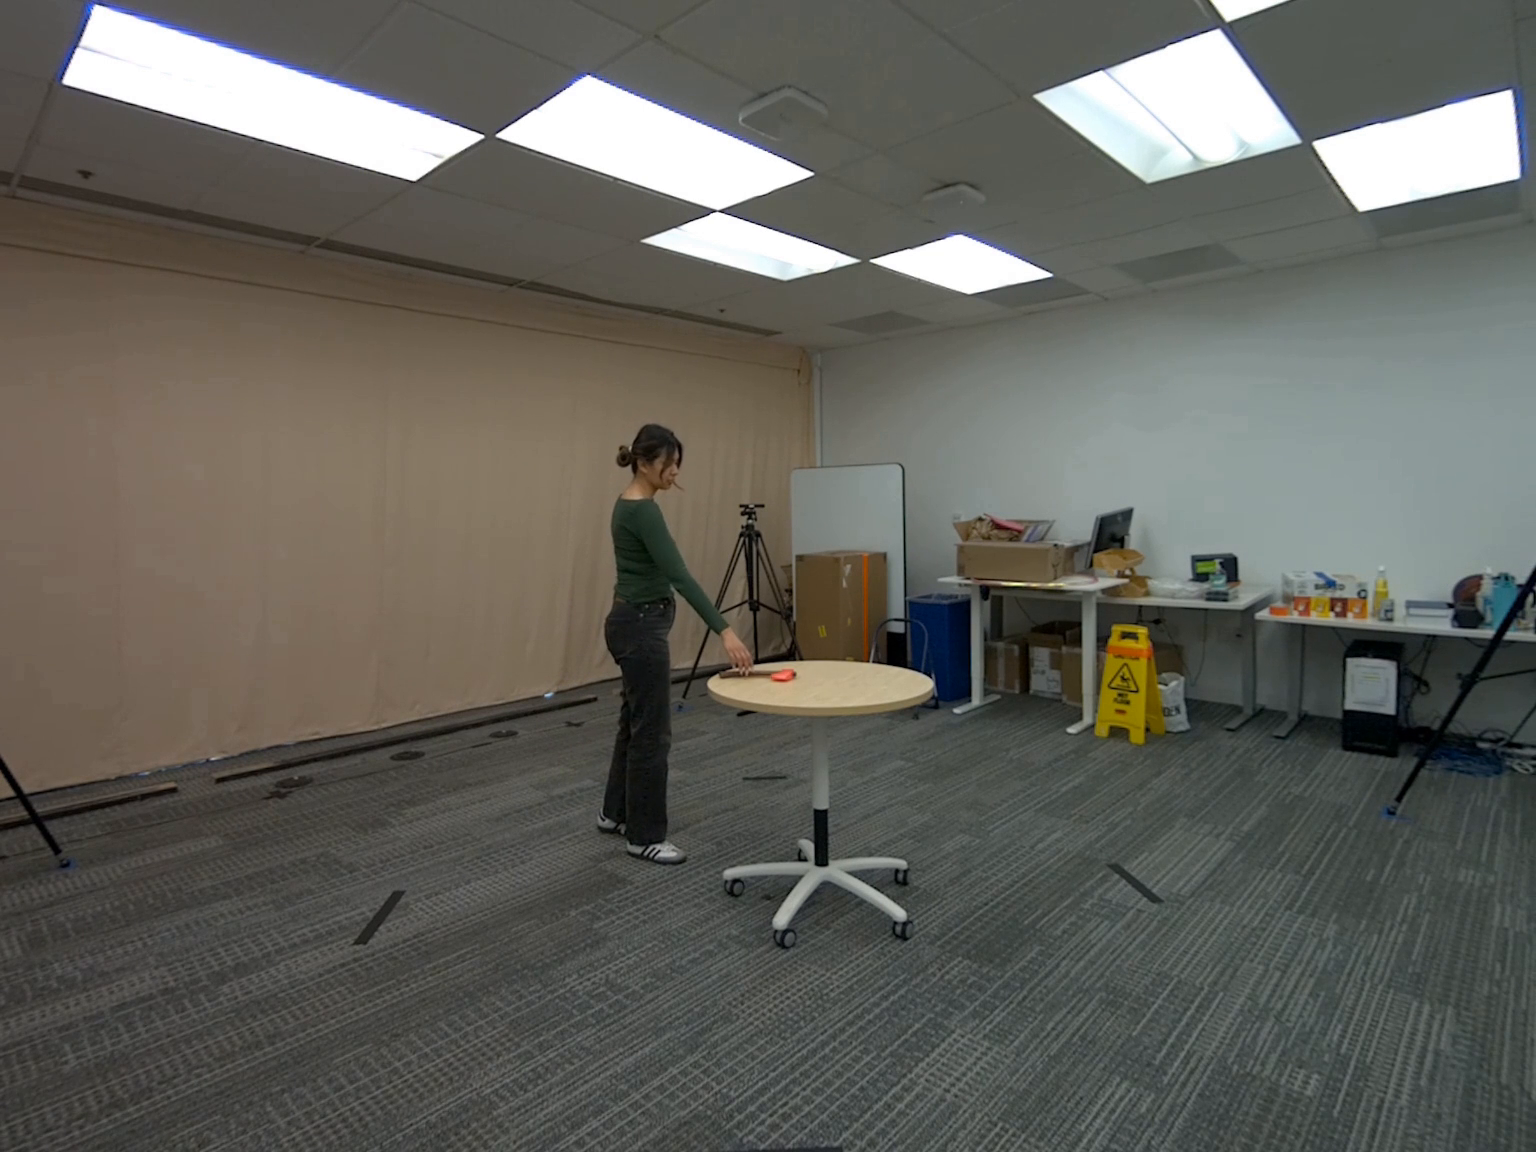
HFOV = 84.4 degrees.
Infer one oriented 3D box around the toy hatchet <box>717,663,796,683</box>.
[{"bbox_3d":[-0.031,0.350,2.940,0.269,0.029,0.132,-3,7,-3],"label":"toy hatchet"}]
